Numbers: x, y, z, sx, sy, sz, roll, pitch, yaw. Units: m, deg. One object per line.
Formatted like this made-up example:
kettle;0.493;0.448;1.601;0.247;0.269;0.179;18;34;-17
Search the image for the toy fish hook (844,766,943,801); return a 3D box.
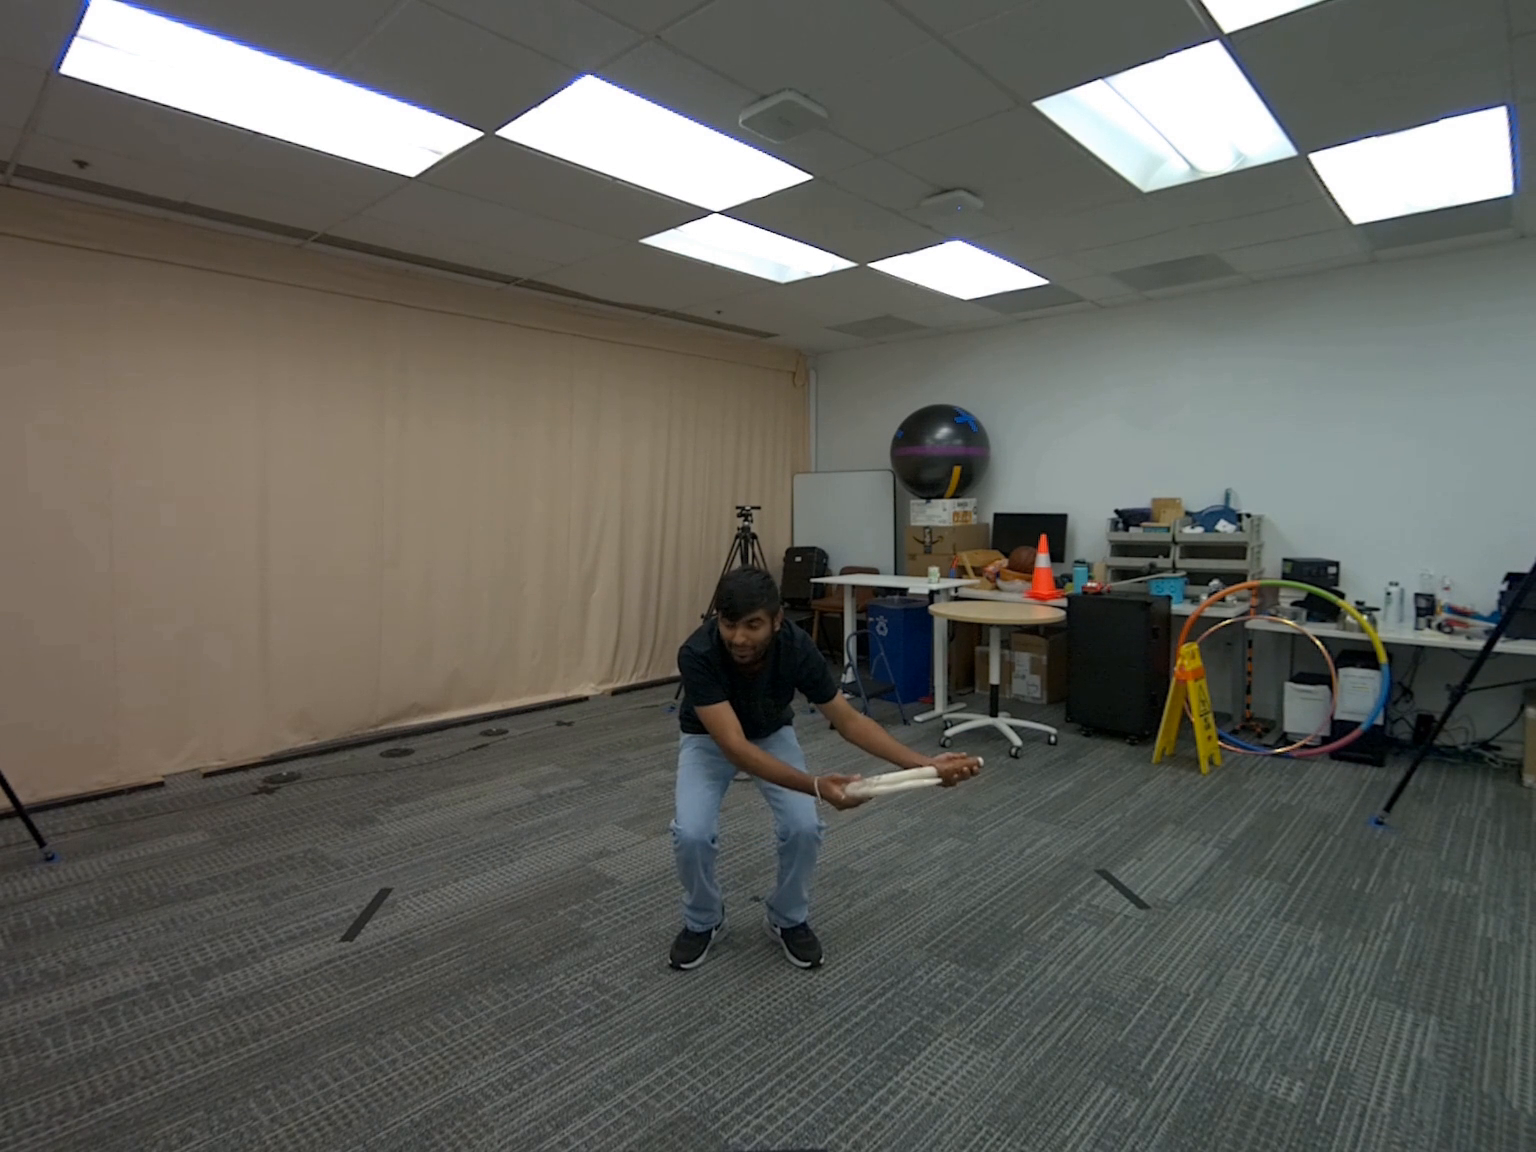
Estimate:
toy fish hook;0.417;0.531;2.197;0.493;0.048;0.230;-4;-5;-32
